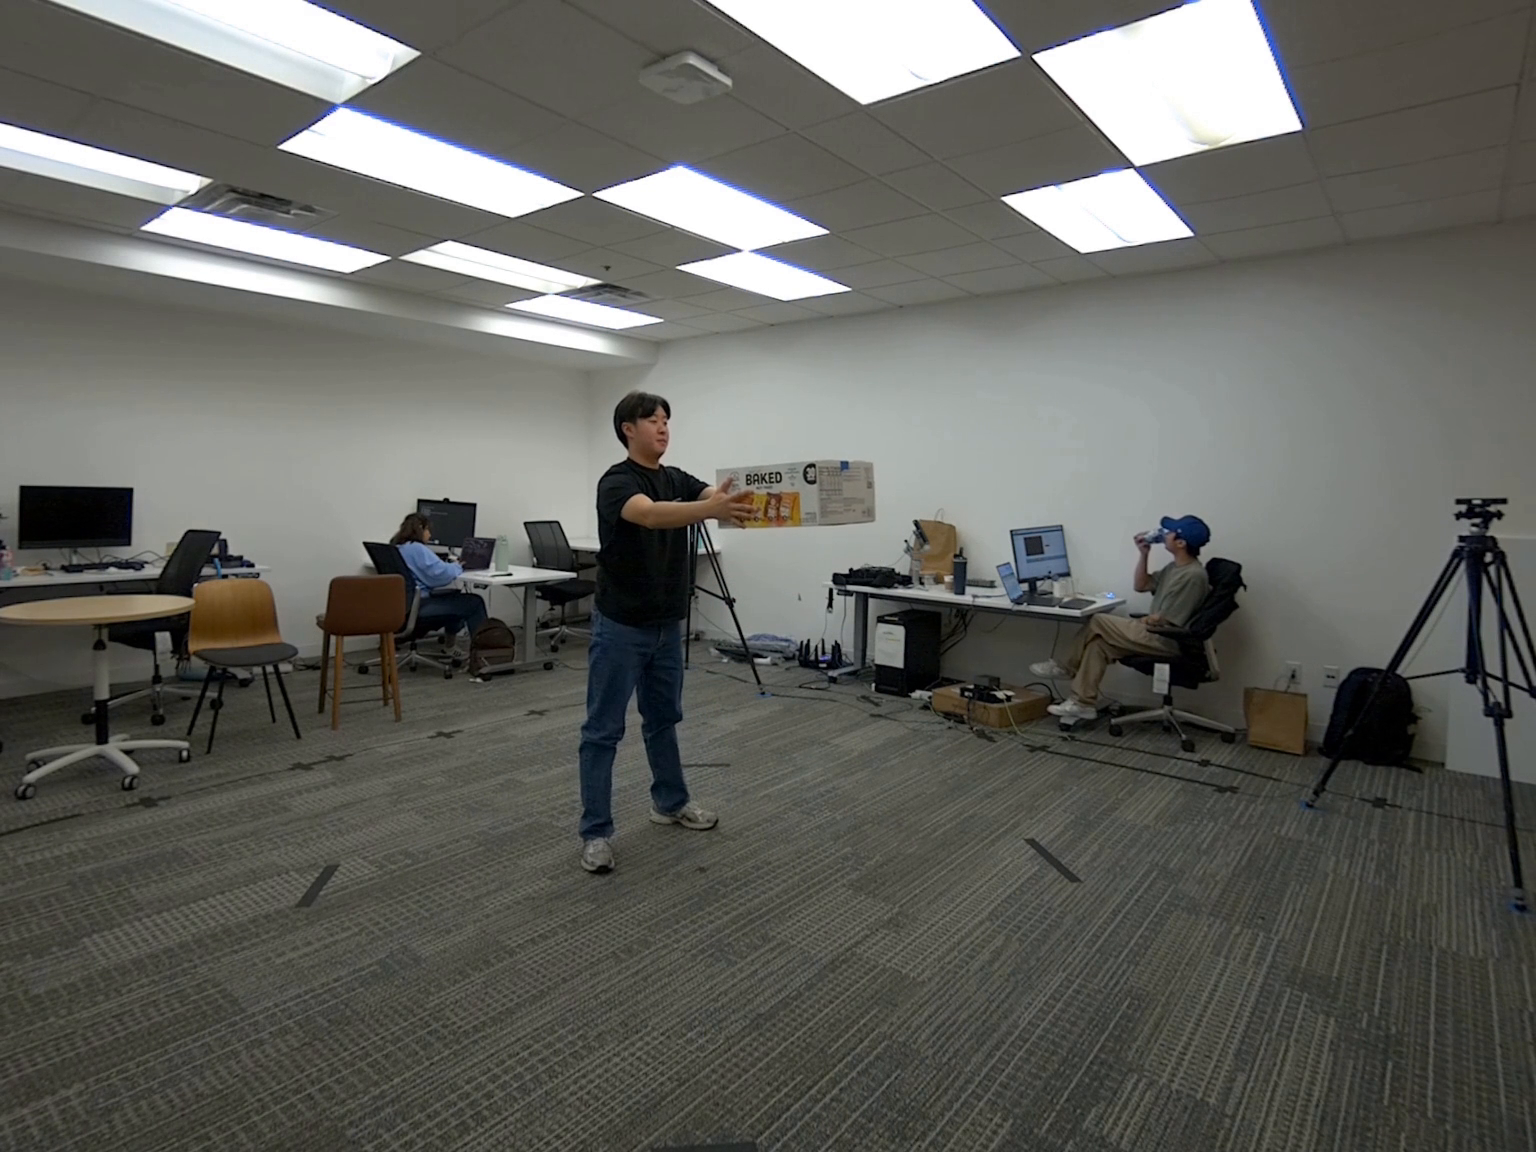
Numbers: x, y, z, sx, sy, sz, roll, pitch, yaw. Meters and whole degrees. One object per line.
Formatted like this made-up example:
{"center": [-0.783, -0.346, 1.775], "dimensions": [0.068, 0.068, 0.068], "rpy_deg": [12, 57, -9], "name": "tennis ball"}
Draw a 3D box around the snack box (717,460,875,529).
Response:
{"center": [0.083, -0.268, 2.840], "dimensions": [0.418, 0.205, 0.331], "rpy_deg": [1, 5, 39], "name": "snack box"}
